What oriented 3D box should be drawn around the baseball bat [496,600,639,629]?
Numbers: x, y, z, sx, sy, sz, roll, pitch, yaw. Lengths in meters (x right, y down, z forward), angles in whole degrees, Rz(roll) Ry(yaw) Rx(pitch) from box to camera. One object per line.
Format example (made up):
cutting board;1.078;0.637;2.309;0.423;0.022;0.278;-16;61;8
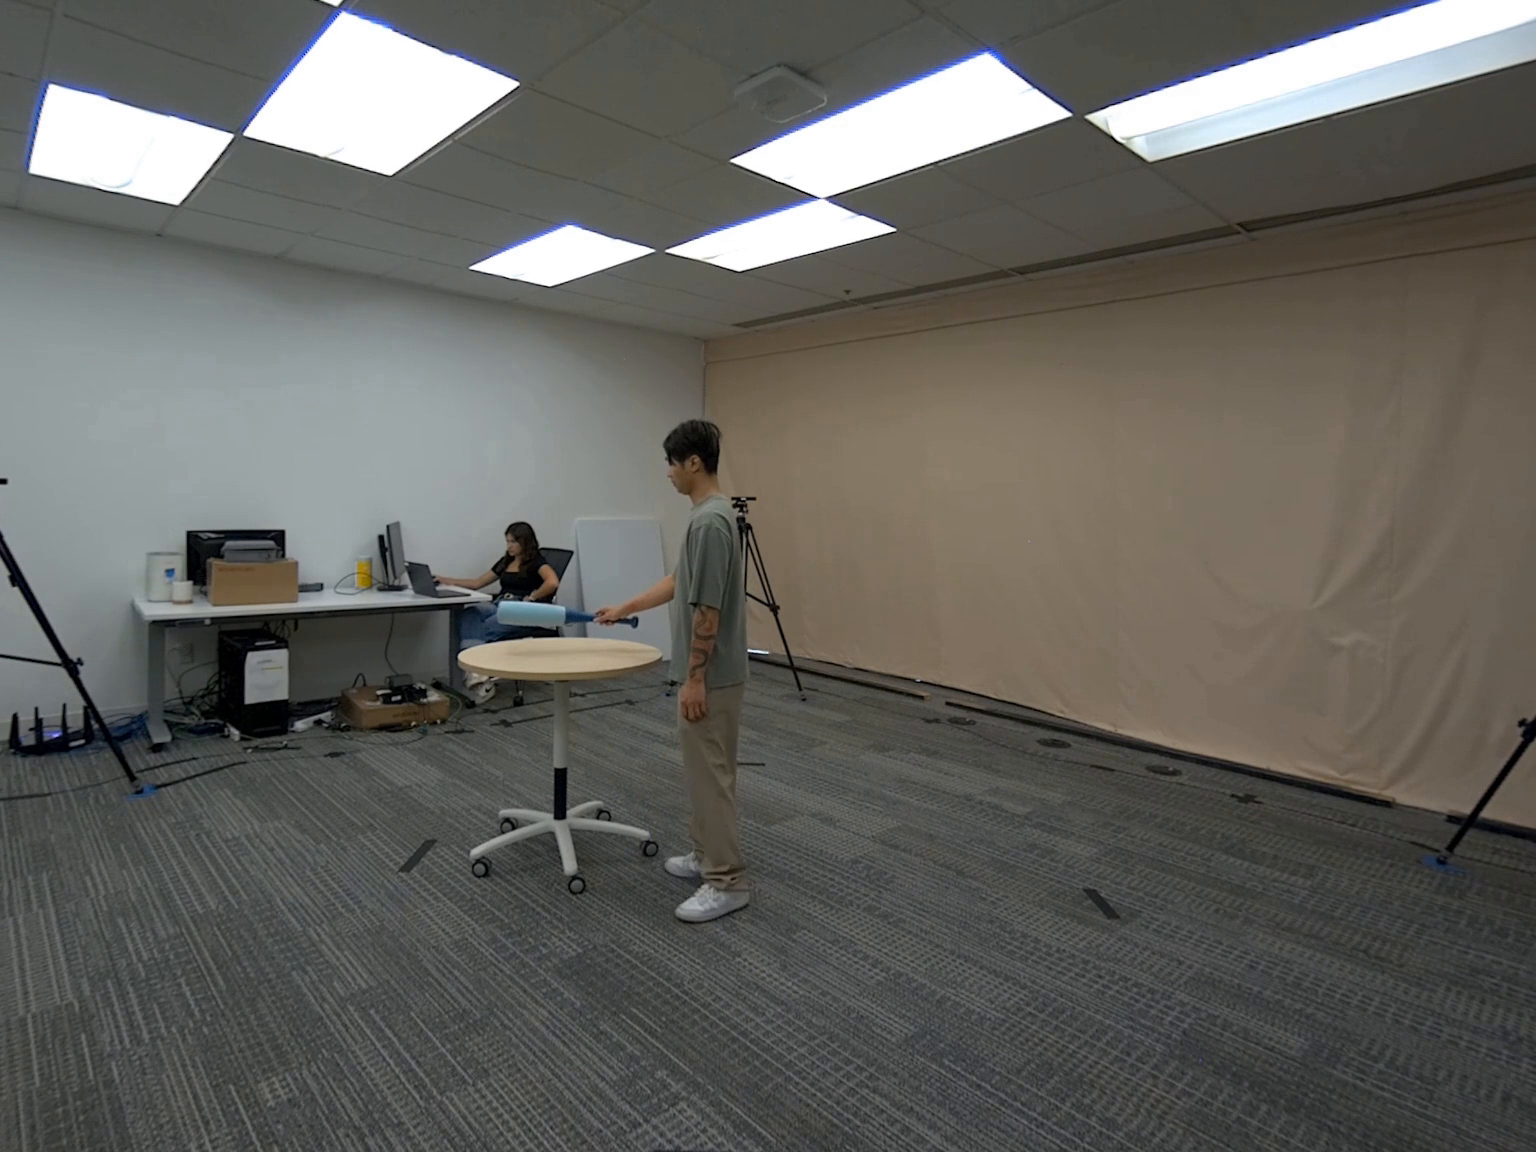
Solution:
baseball bat;-0.777;0.166;3.260;0.536;0.089;0.090;6;3;-15
